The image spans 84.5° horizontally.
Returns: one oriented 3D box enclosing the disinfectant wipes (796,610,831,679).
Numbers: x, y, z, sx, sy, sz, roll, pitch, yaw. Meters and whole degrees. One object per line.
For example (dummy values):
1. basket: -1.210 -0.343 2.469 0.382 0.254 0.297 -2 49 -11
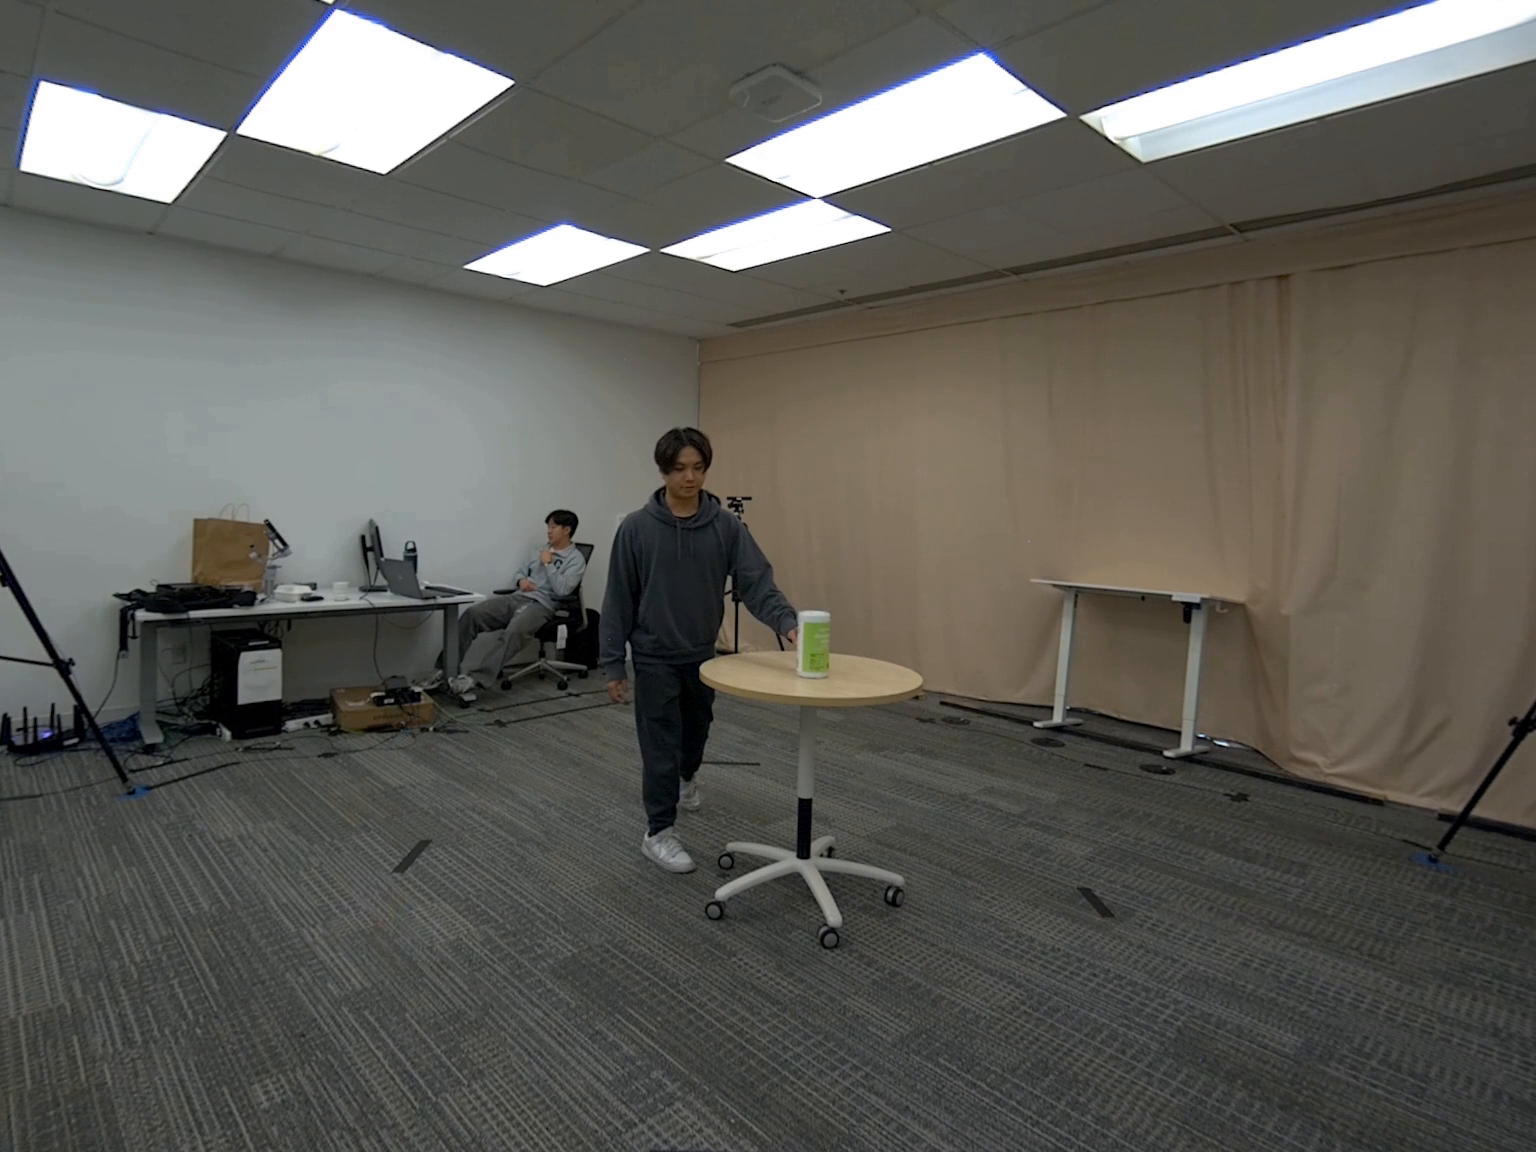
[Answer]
1. disinfectant wipes: 0.148 0.235 2.846 0.117 0.217 0.118 4 5 -2
